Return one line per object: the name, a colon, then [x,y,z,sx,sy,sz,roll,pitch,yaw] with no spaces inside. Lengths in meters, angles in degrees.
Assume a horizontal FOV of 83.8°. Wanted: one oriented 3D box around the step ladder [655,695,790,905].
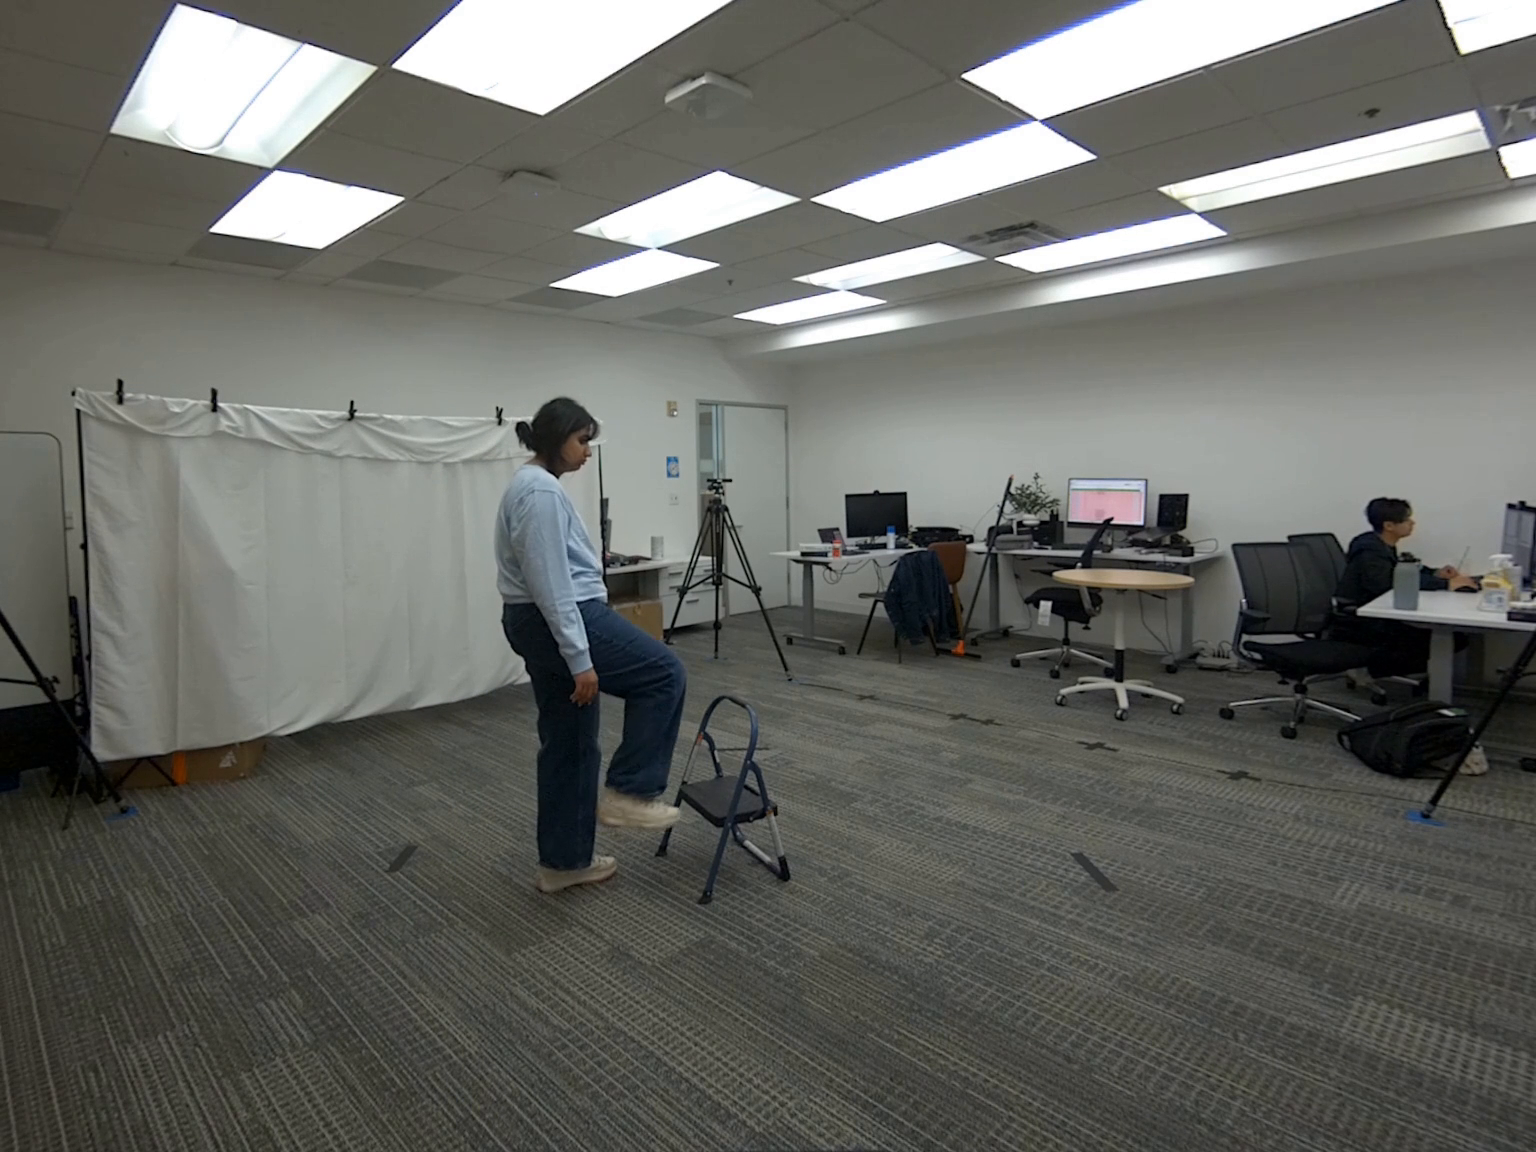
step ladder: [-0.169,0.750,3.062,0.341,0.604,0.442,-3,5,-28]
